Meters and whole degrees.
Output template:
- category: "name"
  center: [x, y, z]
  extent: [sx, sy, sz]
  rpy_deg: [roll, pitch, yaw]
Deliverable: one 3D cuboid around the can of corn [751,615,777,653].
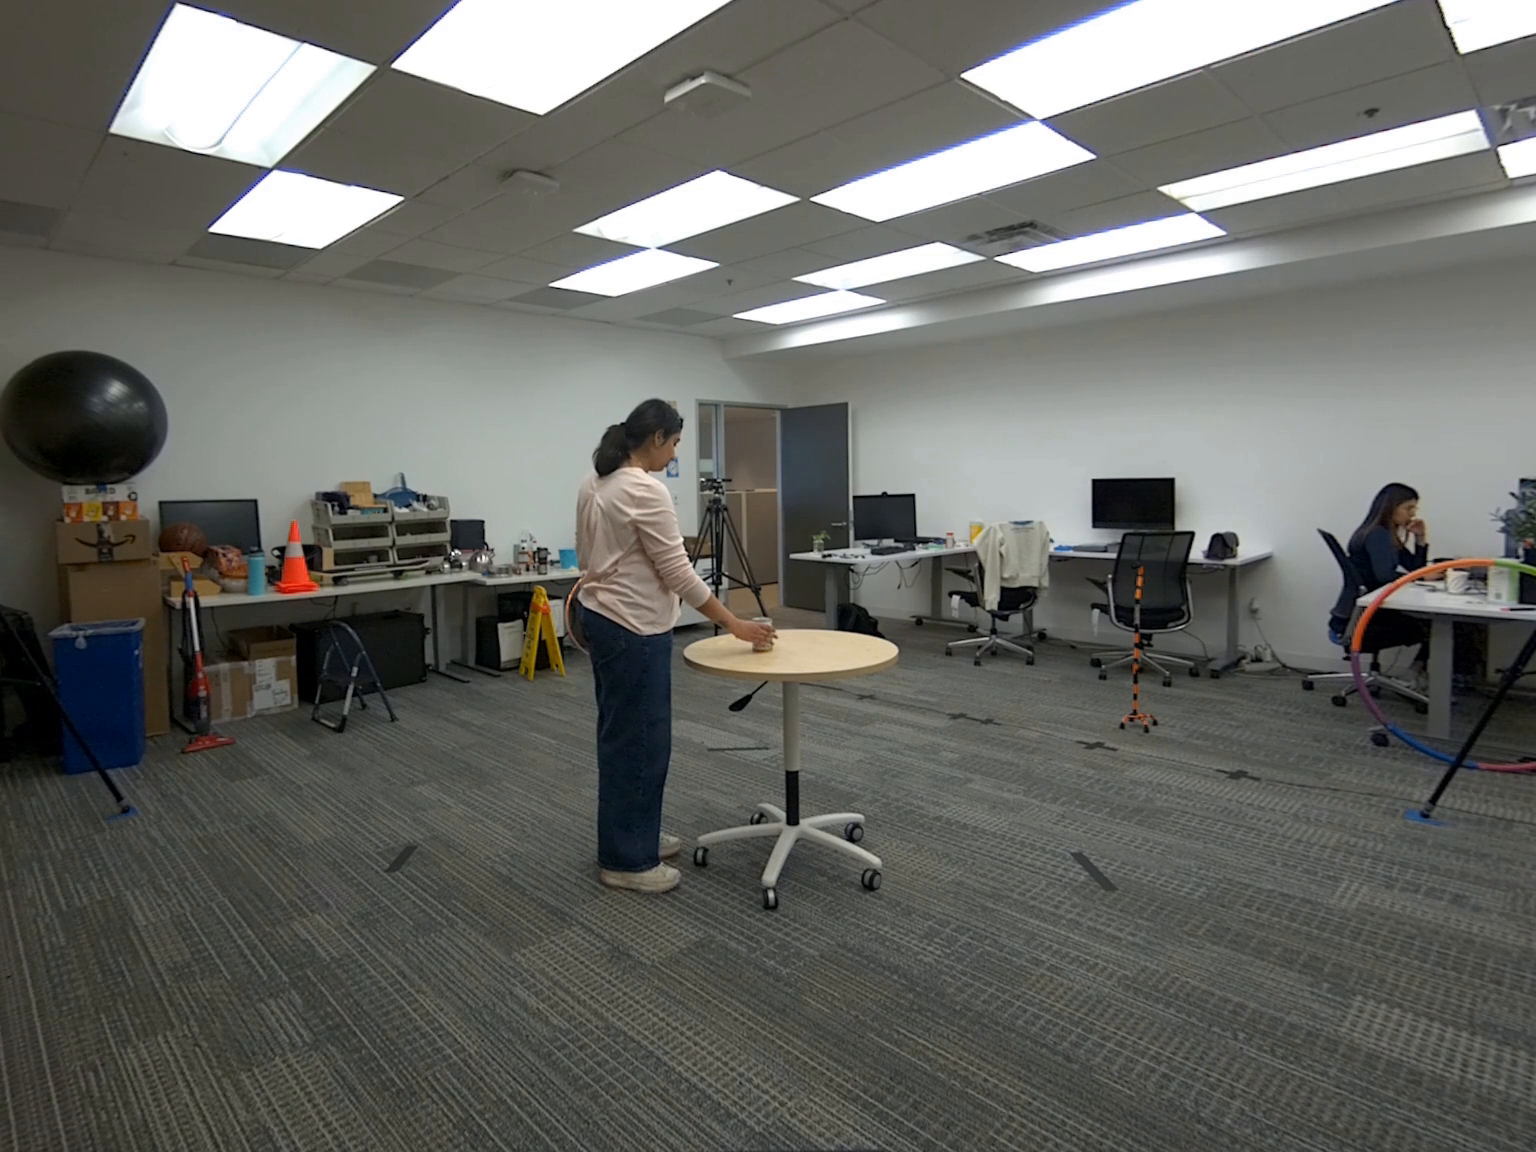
- category: "can of corn"
  center: [-0.027, 0.208, 3.058]
  extent: [0.074, 0.110, 0.075]
  rpy_deg: [-2, 8, -1]
